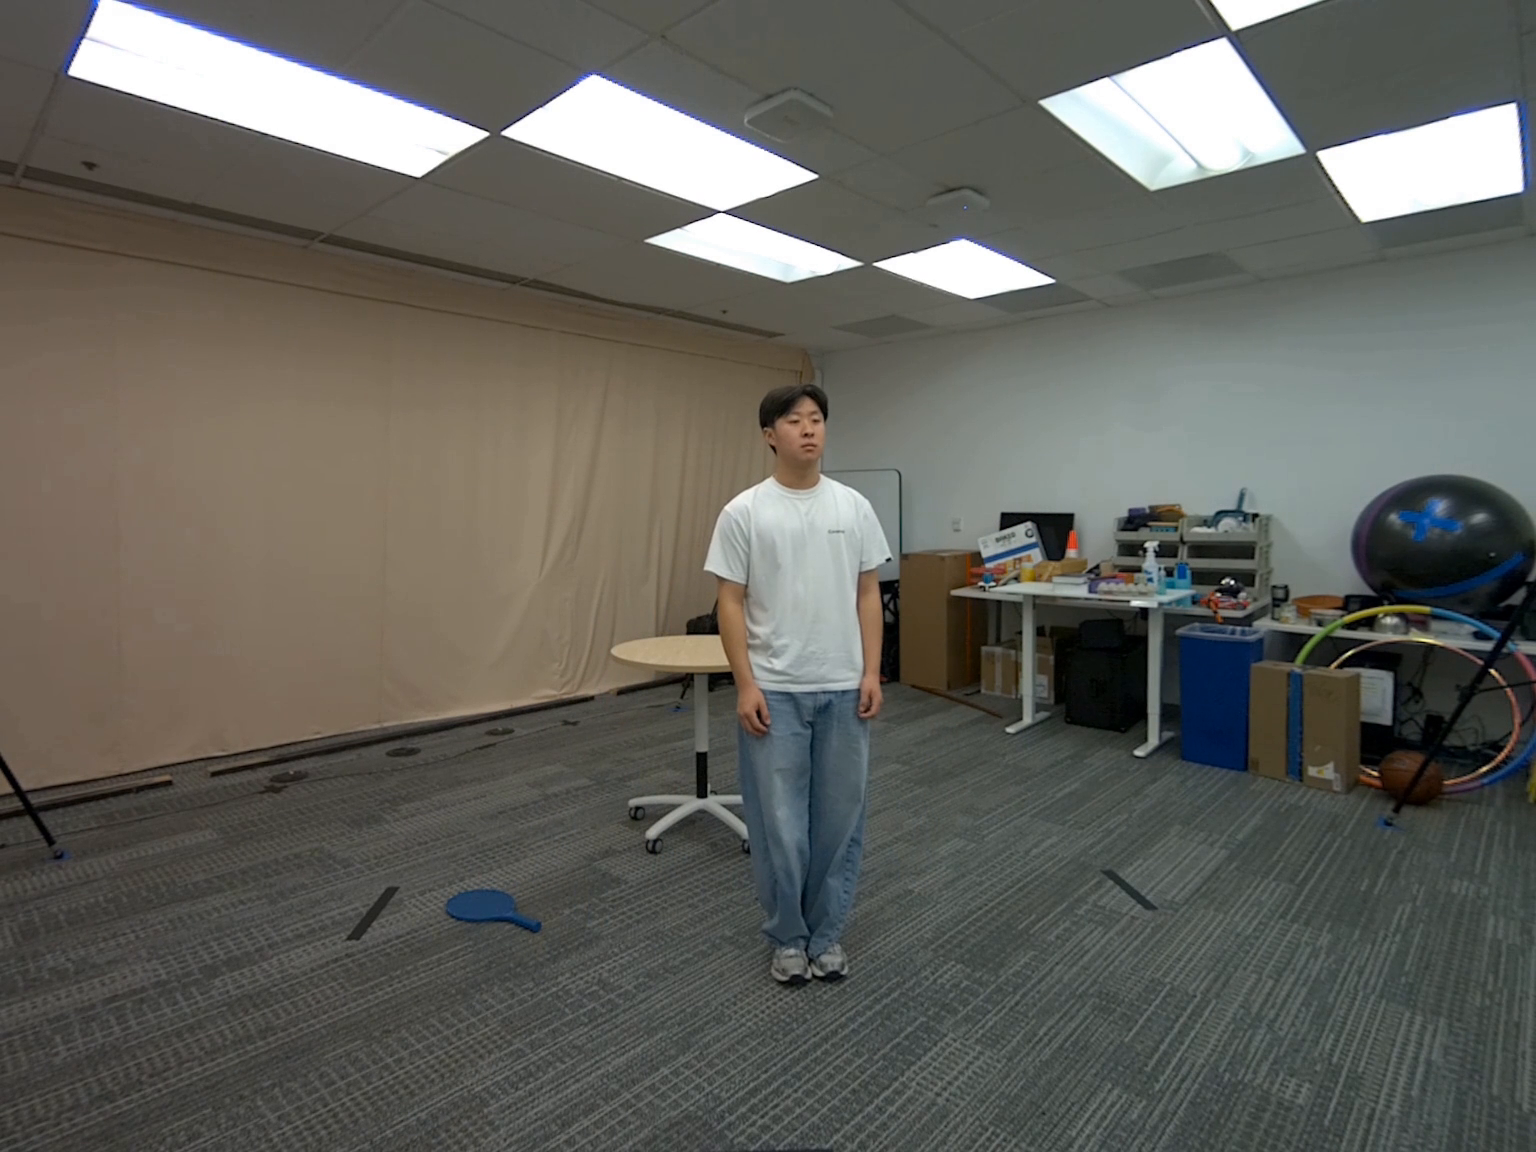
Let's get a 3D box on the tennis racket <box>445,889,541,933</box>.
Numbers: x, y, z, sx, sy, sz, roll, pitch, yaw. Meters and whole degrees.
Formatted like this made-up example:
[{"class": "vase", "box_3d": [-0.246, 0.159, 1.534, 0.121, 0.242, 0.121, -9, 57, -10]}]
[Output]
[{"class": "tennis racket", "box_3d": [-0.933, 1.148, 2.883, 0.446, 0.032, 0.207, 1, 5, 37]}]
